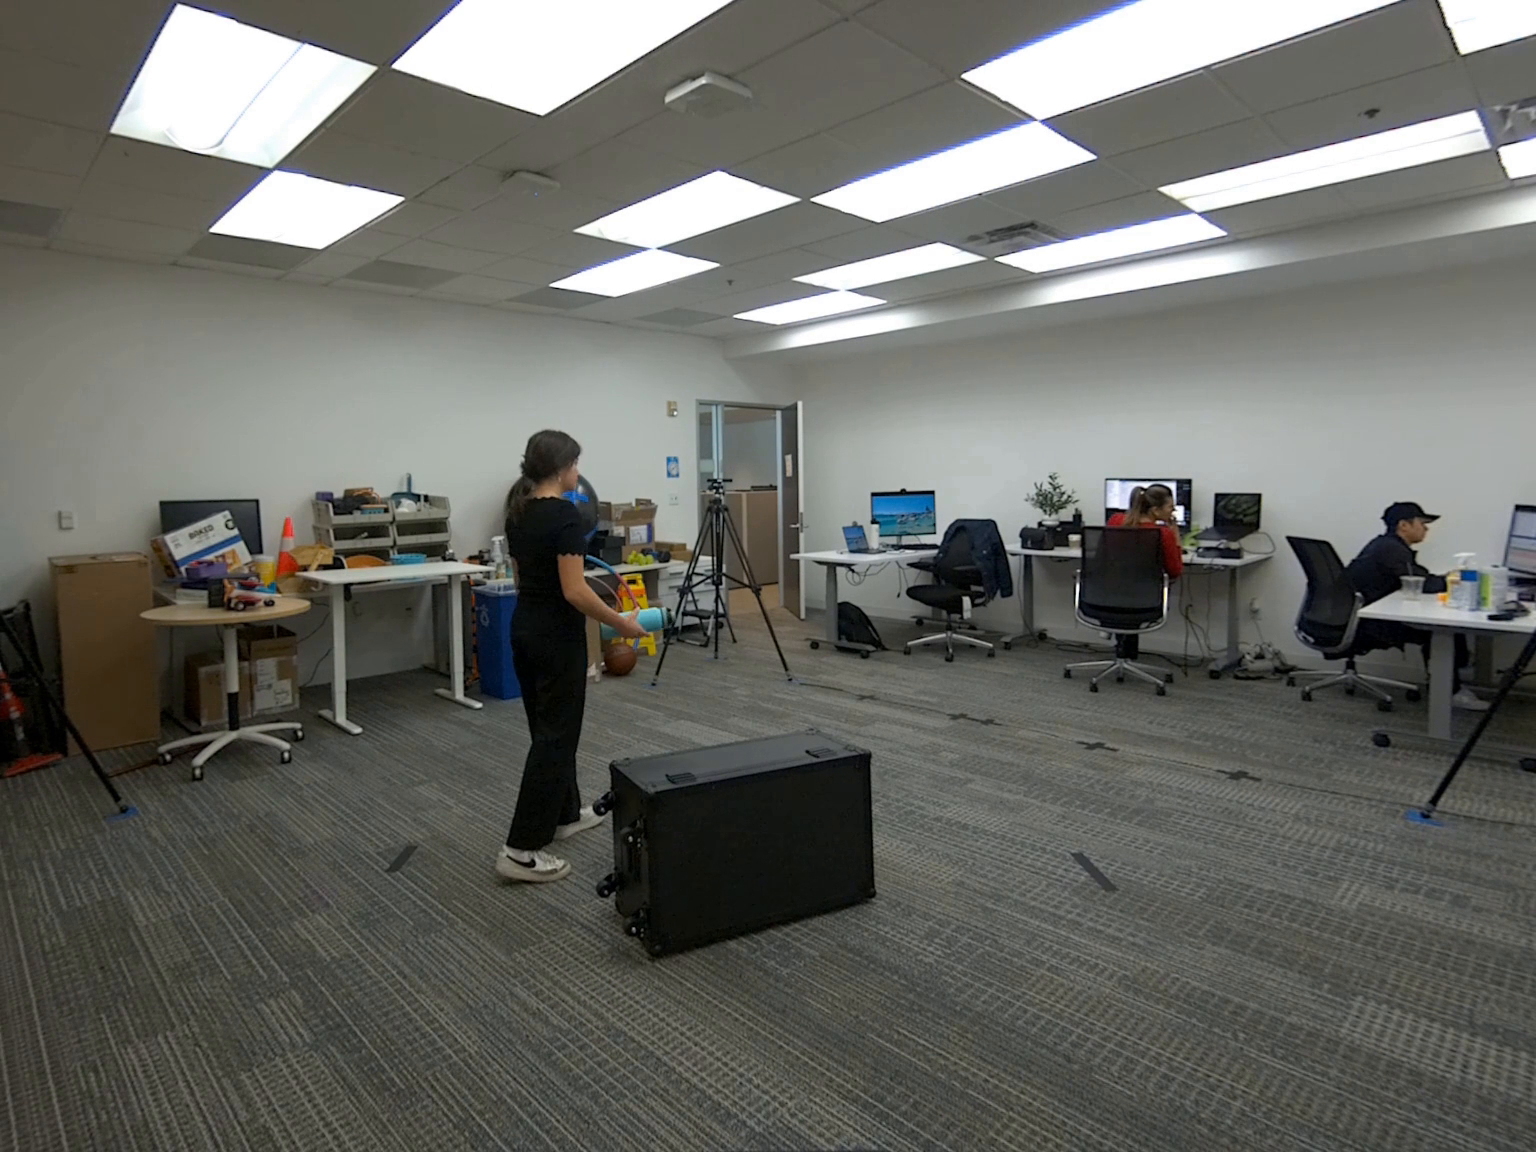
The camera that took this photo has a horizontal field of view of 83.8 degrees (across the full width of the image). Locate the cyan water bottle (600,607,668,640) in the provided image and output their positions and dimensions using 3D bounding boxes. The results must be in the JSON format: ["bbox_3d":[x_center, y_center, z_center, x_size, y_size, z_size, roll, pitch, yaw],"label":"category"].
[{"bbox_3d":[-0.494,0.181,3.221,0.280,0.092,0.094,-9,7,-14],"label":"cyan water bottle"}]
